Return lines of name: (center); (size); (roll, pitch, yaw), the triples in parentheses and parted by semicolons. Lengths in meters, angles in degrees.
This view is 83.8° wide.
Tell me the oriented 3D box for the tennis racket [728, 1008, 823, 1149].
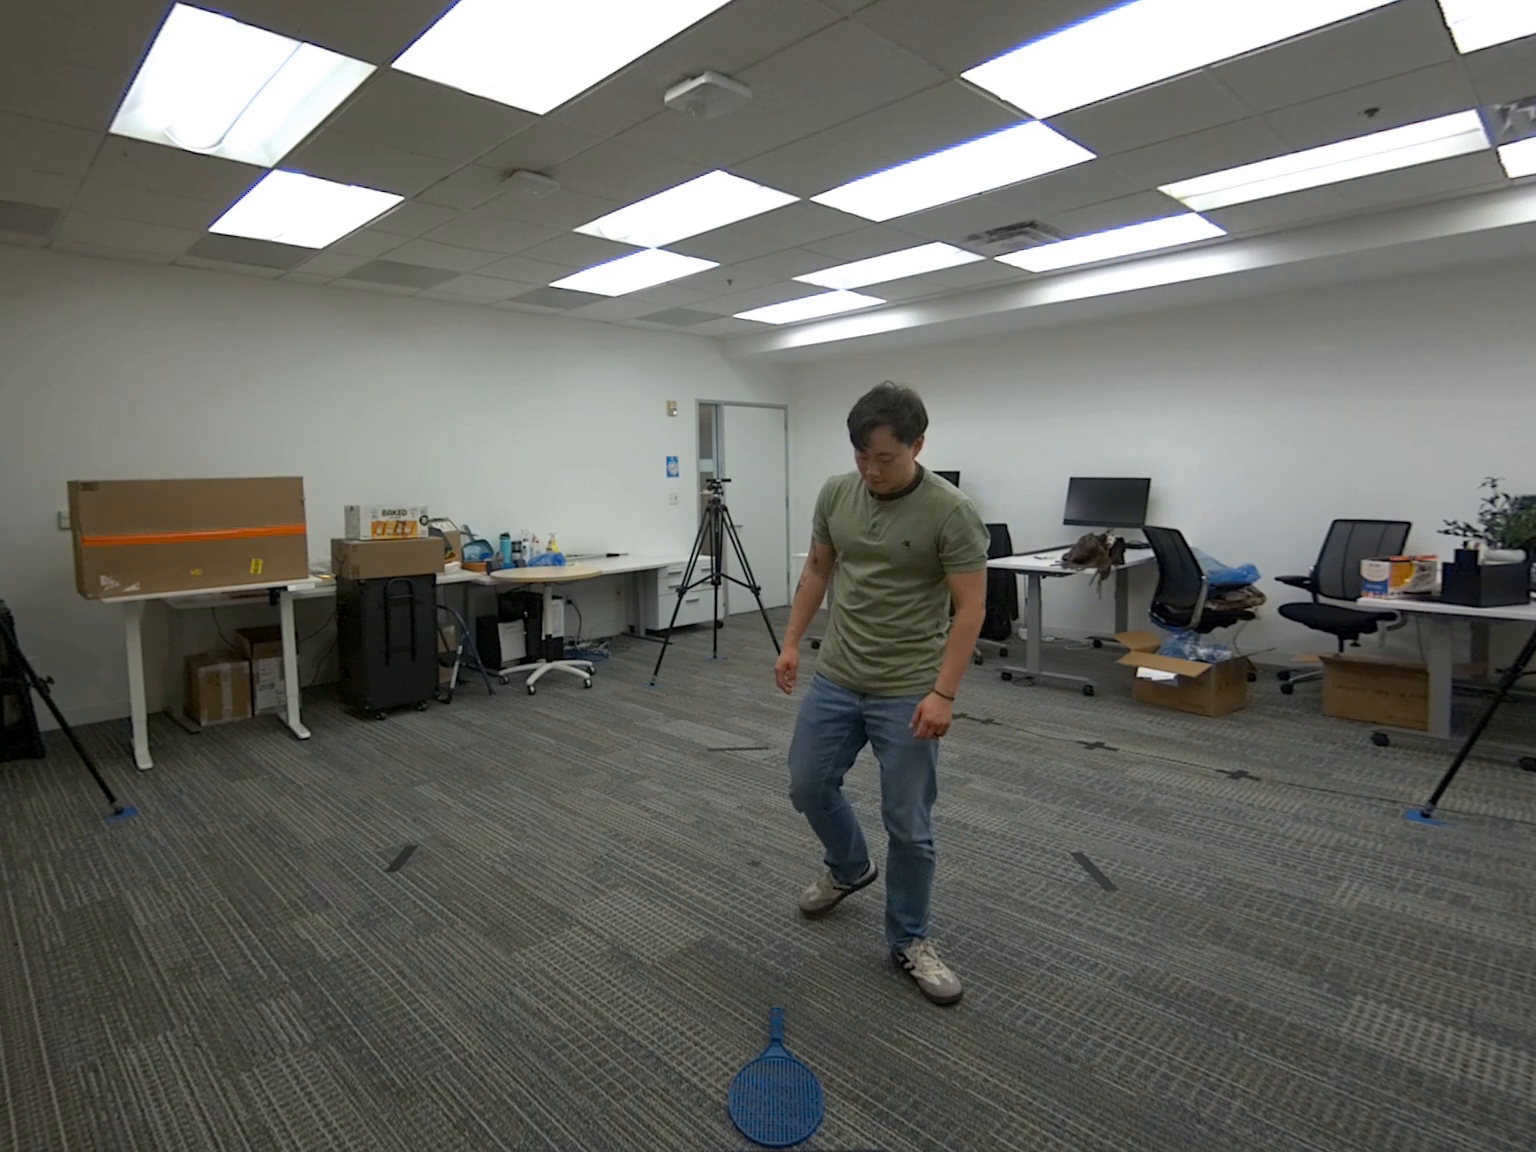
tennis racket: (0.030, 1.162, 2.004); (0.215, 0.031, 0.434); (-1, 8, 3)
